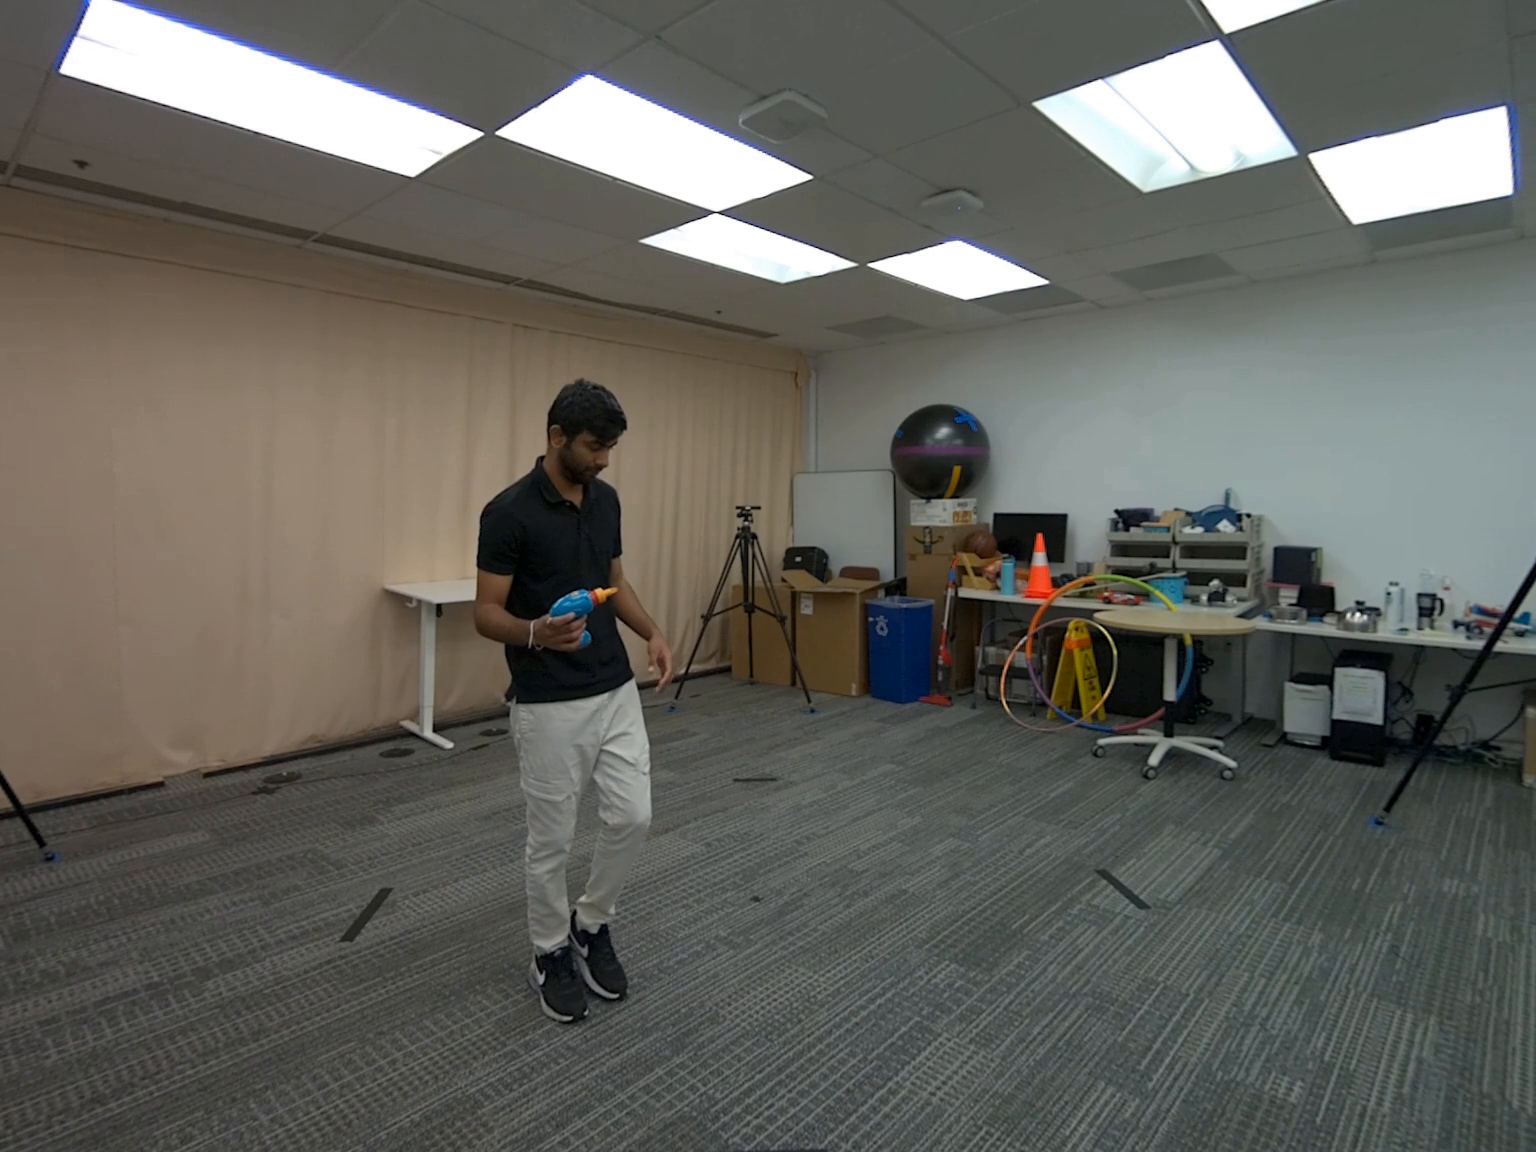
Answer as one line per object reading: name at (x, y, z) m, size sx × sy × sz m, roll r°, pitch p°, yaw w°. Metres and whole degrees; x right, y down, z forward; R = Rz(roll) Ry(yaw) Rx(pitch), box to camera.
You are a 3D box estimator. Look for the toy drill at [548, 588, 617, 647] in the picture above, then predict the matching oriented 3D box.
toy drill at (-0.438, 0.088, 1.991) m, size 0.166 × 0.144 × 0.063 m, roll -23°, pitch 47°, yaw -29°
